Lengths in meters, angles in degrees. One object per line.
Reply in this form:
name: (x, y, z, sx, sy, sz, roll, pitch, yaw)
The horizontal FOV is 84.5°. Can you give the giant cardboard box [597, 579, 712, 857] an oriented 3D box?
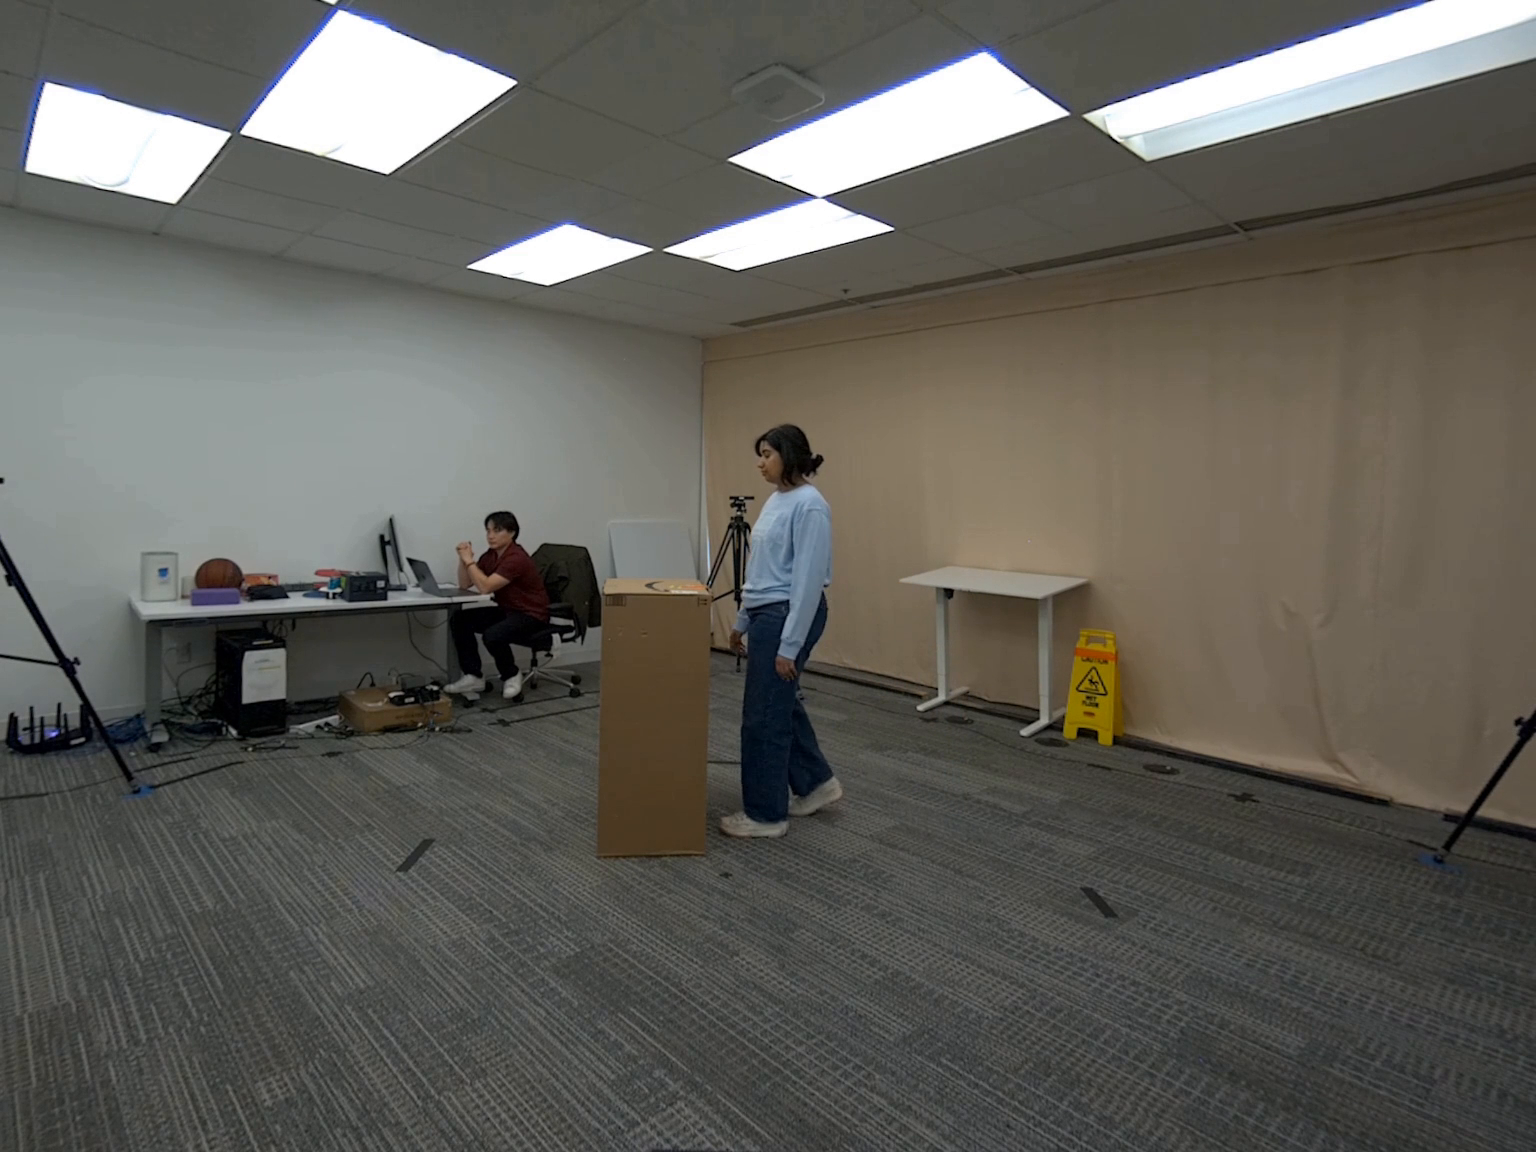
giant cardboard box: (-0.489, 0.551, 3.507, 0.444, 1.025, 0.589, 2, 3, -8)
